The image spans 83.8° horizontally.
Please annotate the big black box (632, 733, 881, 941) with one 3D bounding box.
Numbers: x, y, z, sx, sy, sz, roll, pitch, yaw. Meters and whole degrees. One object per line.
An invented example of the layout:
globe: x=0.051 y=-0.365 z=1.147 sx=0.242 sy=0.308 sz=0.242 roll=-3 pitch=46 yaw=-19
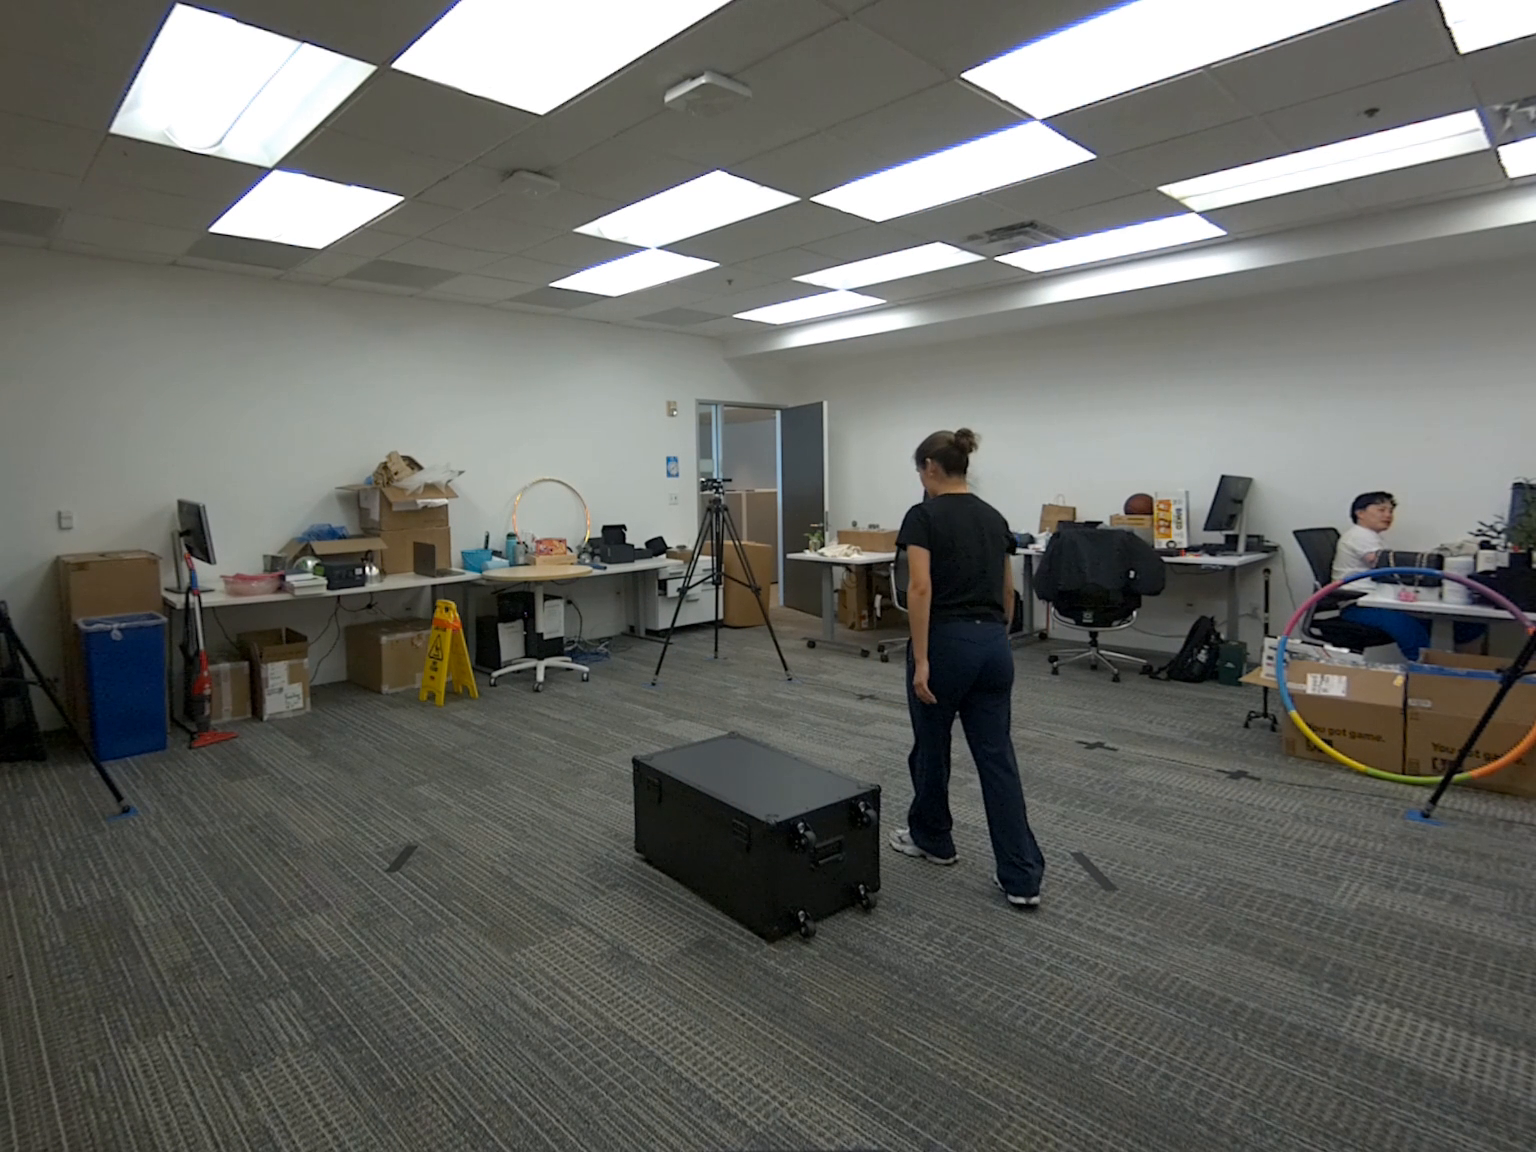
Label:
big black box: x=-0.079 y=0.861 z=3.031 sx=0.508 sy=0.394 sz=0.888 roll=-5 pitch=8 yaw=-39
